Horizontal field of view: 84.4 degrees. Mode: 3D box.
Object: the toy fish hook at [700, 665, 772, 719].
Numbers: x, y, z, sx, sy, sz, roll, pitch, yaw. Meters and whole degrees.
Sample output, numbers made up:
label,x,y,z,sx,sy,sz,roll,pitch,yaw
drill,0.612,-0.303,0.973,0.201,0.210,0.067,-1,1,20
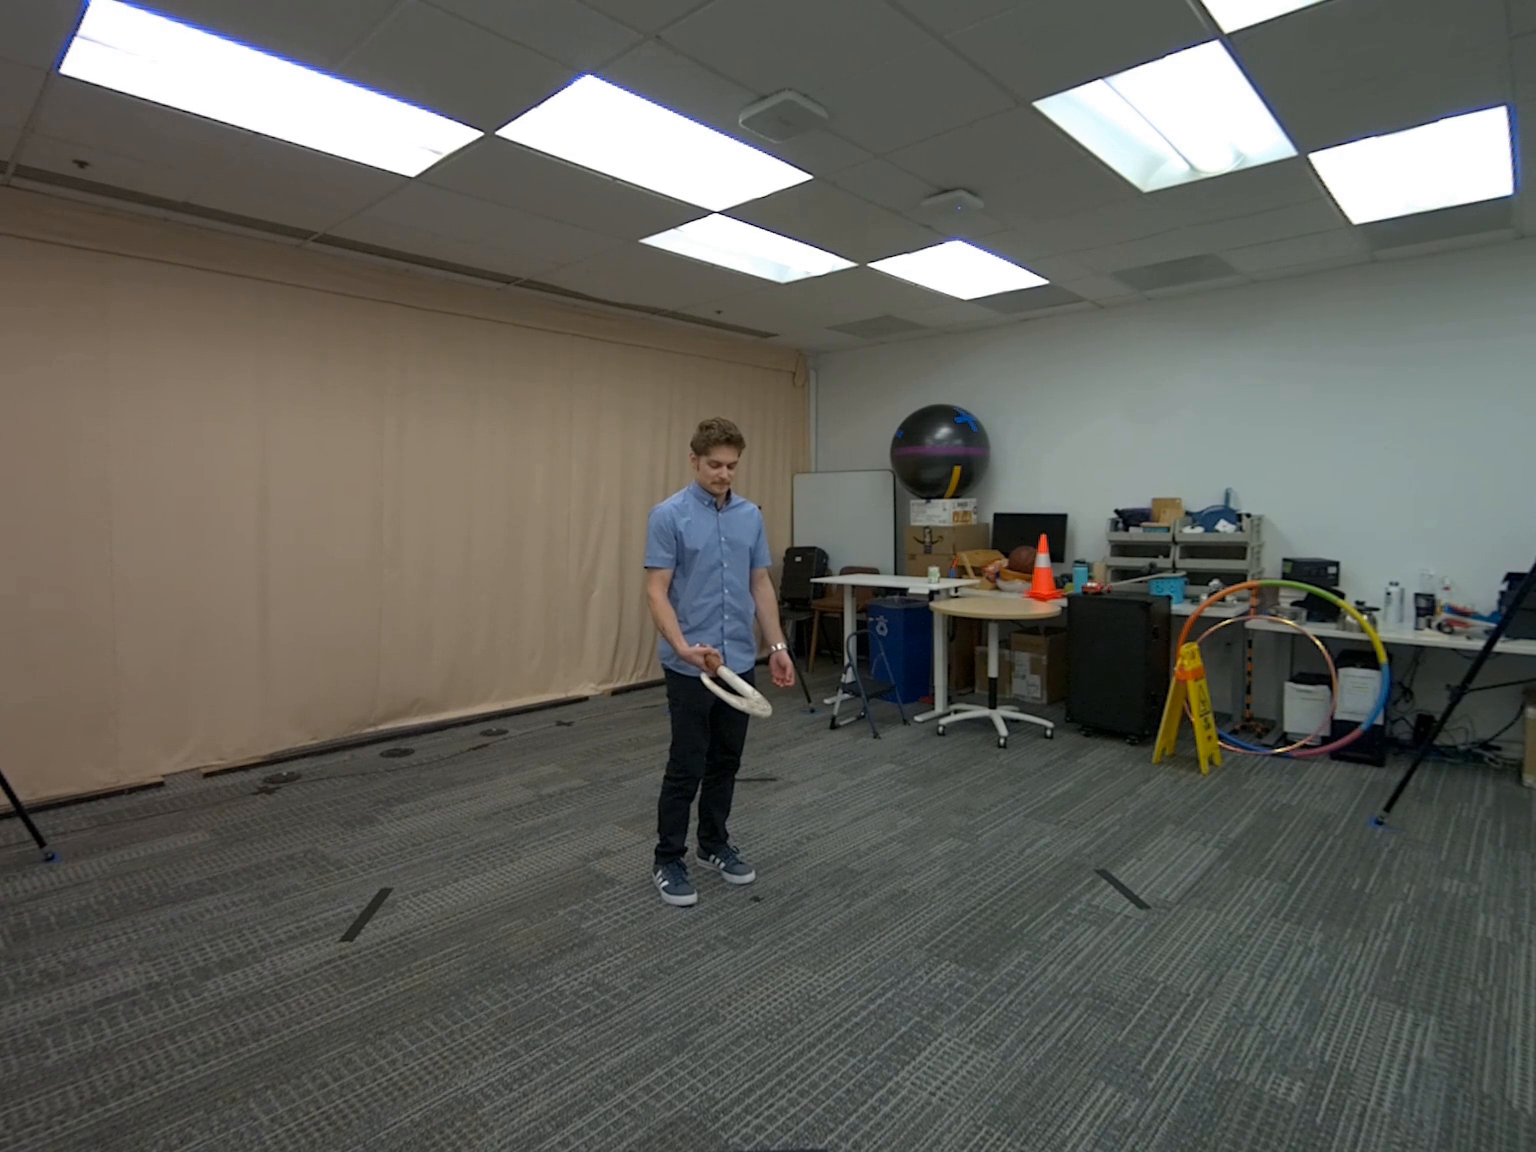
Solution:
label,x,y,z,sx,sy,sz,roll,pitch,yaw
toy fish hook,-0.156,0.314,2.651,0.217,0.048,0.523,30,4,-31
